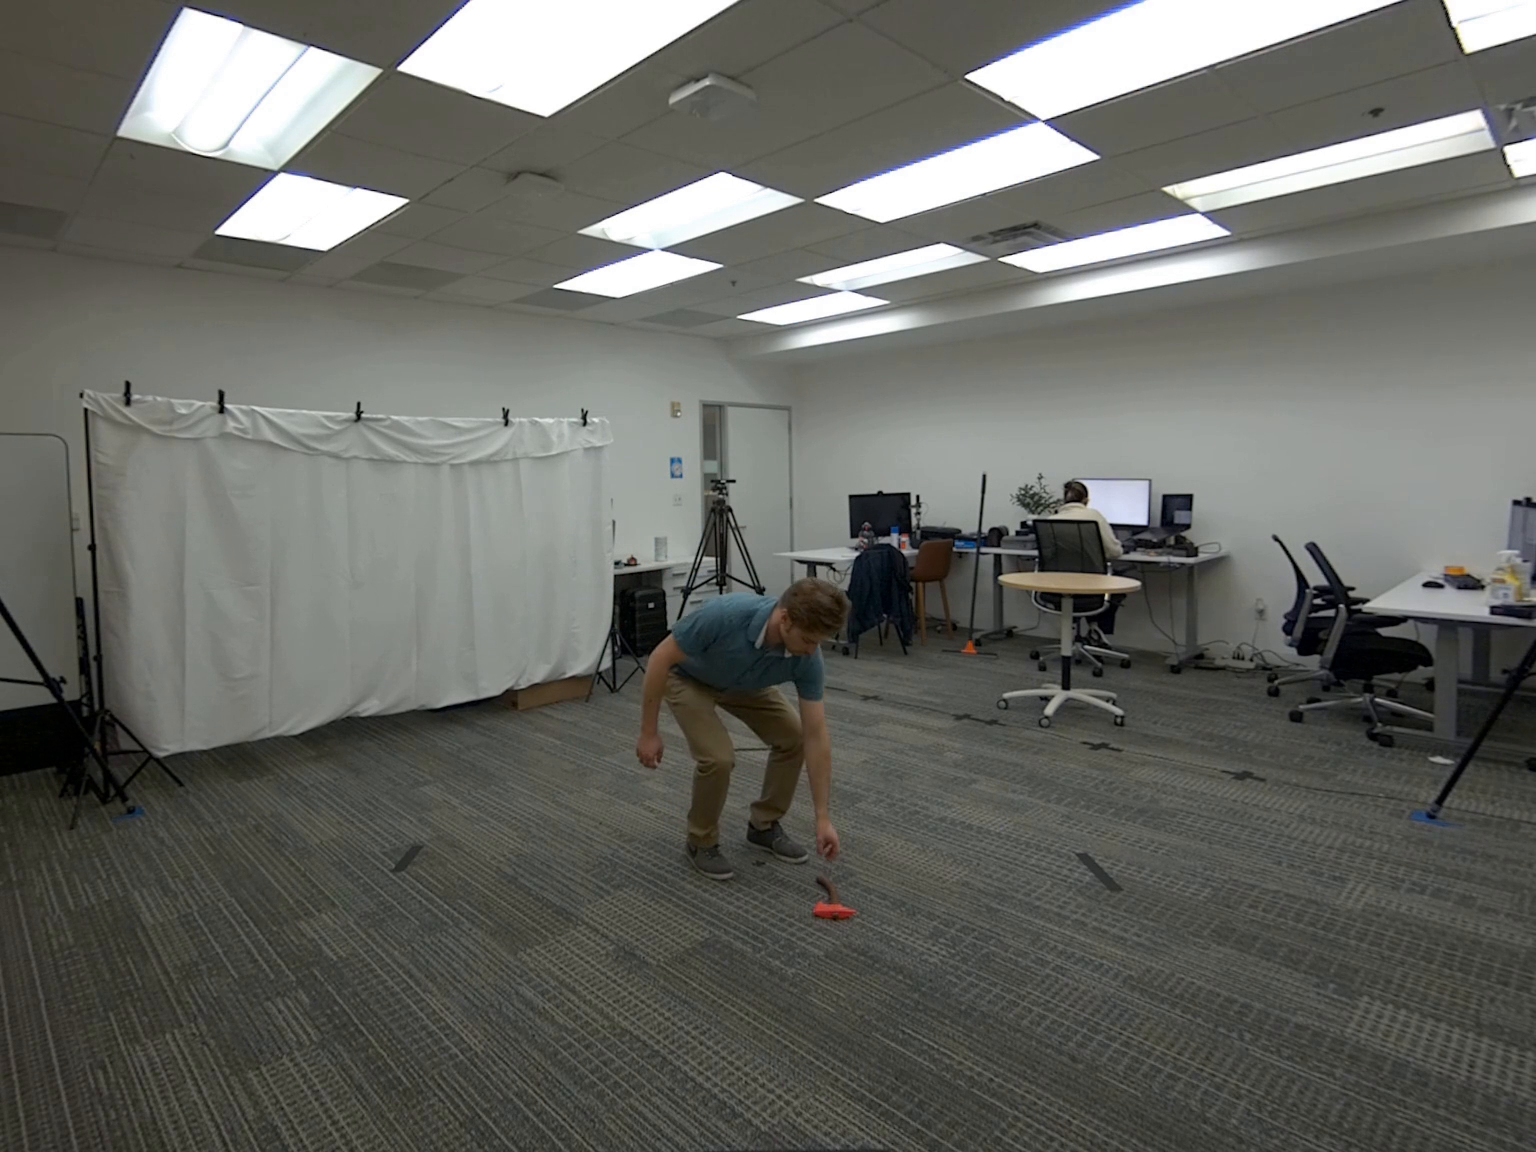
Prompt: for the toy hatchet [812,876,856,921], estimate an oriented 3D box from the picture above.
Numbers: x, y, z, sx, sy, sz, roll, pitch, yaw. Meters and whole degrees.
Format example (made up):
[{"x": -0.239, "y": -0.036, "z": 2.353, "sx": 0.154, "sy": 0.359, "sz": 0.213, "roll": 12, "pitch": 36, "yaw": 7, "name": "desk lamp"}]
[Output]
[{"x": 0.181, "y": 1.066, "z": 2.827, "sx": 0.129, "sy": 0.029, "sz": 0.275, "roll": -5, "pitch": 6, "yaw": -17, "name": "toy hatchet"}]
